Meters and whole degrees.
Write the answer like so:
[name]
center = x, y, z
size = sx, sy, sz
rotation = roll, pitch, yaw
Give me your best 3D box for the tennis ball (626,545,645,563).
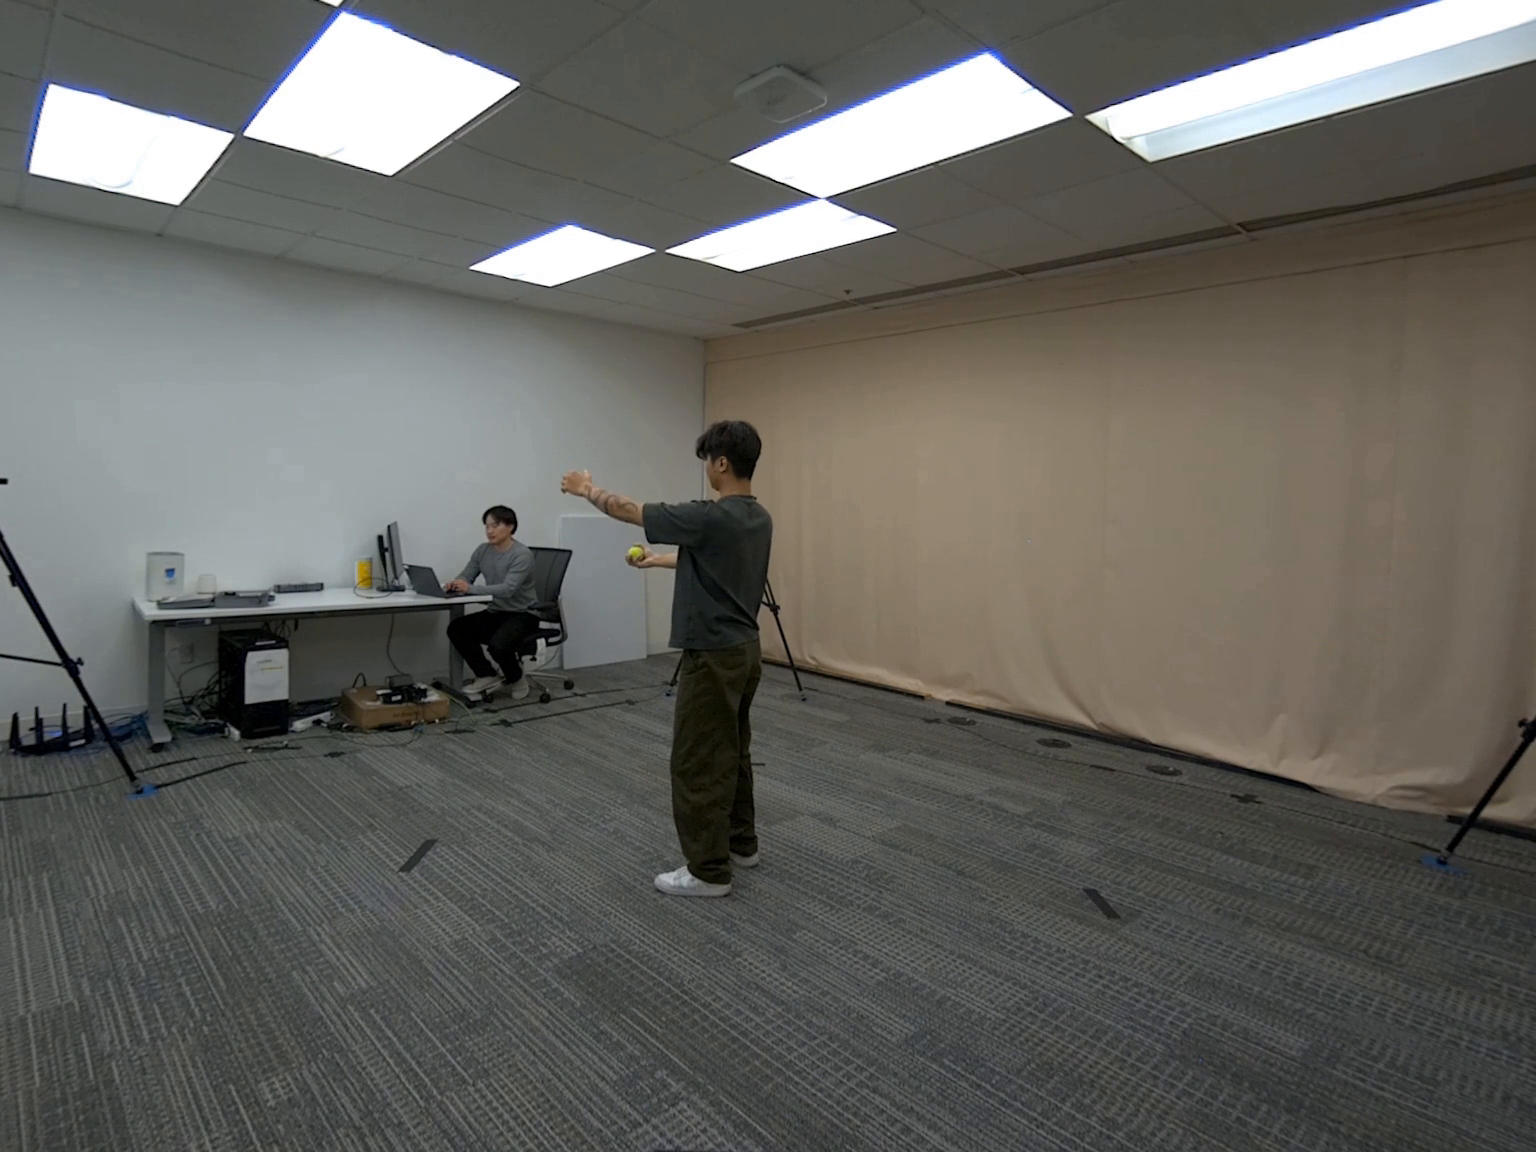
[tennis ball]
center = -0.539, -0.088, 3.428
size = 0.066, 0.066, 0.067
rotation = 1, 4, -1
